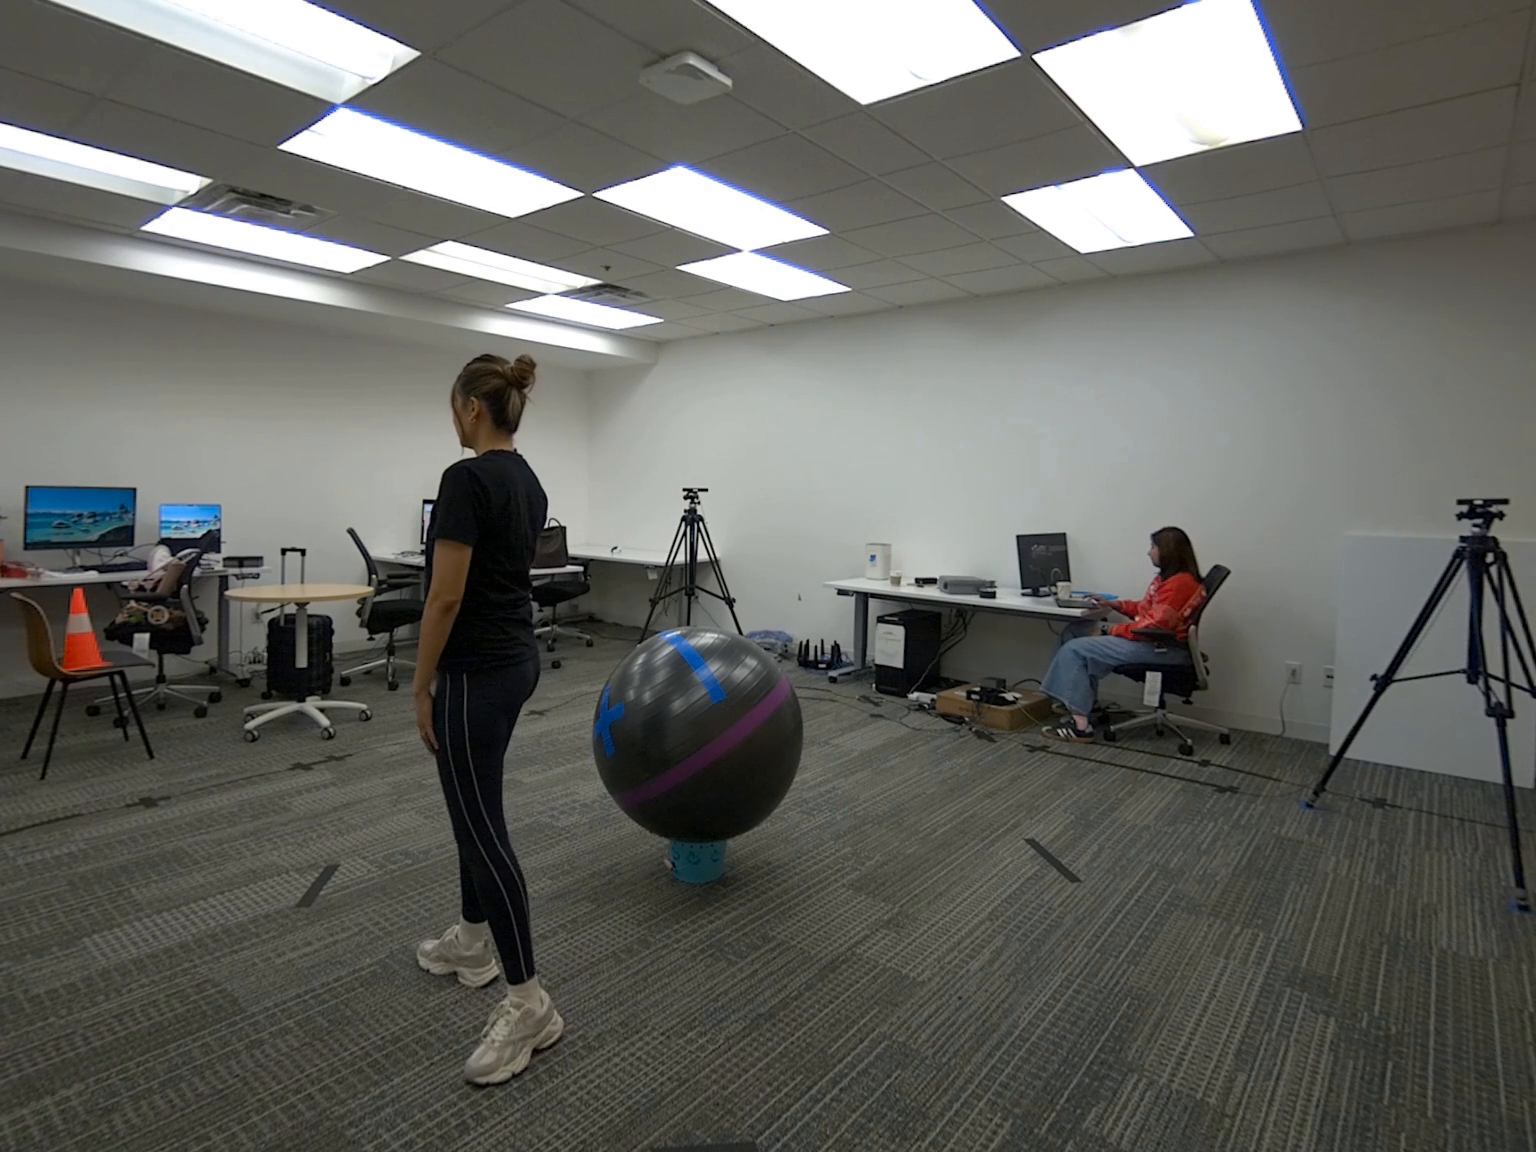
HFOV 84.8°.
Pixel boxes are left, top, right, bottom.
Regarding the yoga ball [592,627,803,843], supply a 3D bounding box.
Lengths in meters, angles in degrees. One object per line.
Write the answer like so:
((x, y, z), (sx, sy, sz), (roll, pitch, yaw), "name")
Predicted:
((-0.263, 0.563, 3.069), (0.757, 0.755, 0.762), (1, 4, -2), "yoga ball")
